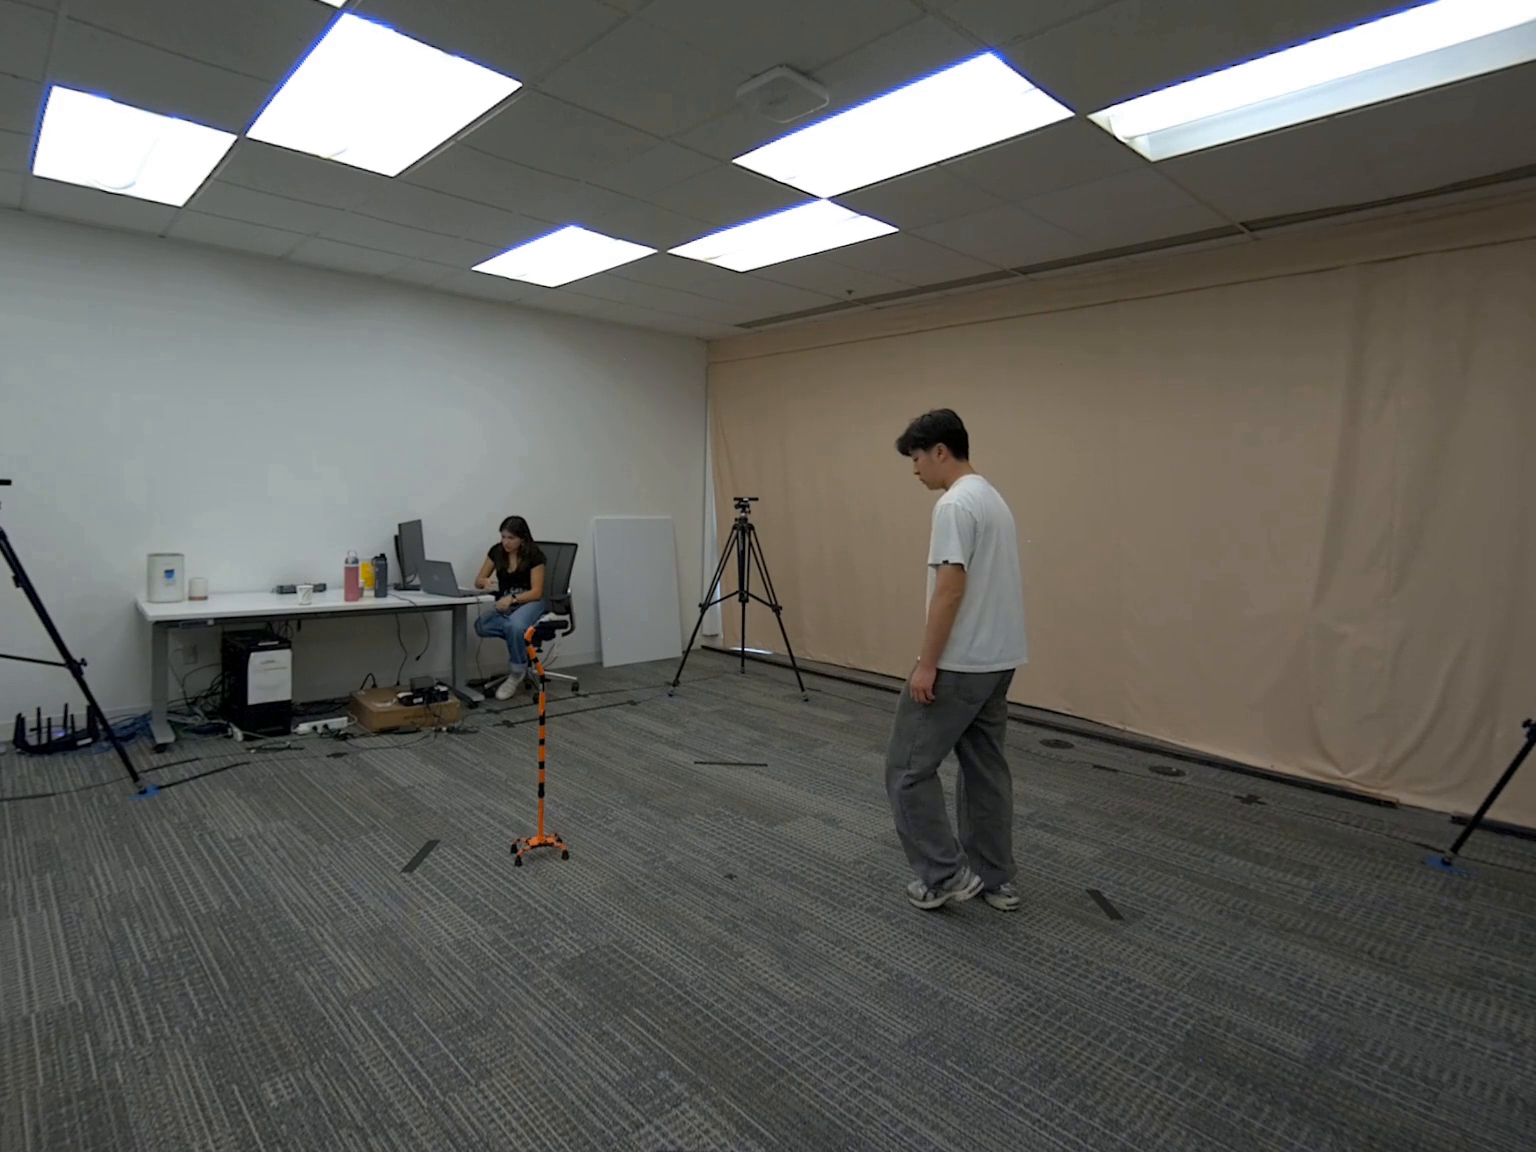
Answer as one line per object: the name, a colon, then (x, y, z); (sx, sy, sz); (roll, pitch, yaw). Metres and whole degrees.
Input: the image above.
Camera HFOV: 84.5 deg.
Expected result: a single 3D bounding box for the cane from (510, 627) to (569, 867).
cane: (-0.877, 0.622, 3.230); (0.203, 0.906, 0.154); (0, 3, -25)
